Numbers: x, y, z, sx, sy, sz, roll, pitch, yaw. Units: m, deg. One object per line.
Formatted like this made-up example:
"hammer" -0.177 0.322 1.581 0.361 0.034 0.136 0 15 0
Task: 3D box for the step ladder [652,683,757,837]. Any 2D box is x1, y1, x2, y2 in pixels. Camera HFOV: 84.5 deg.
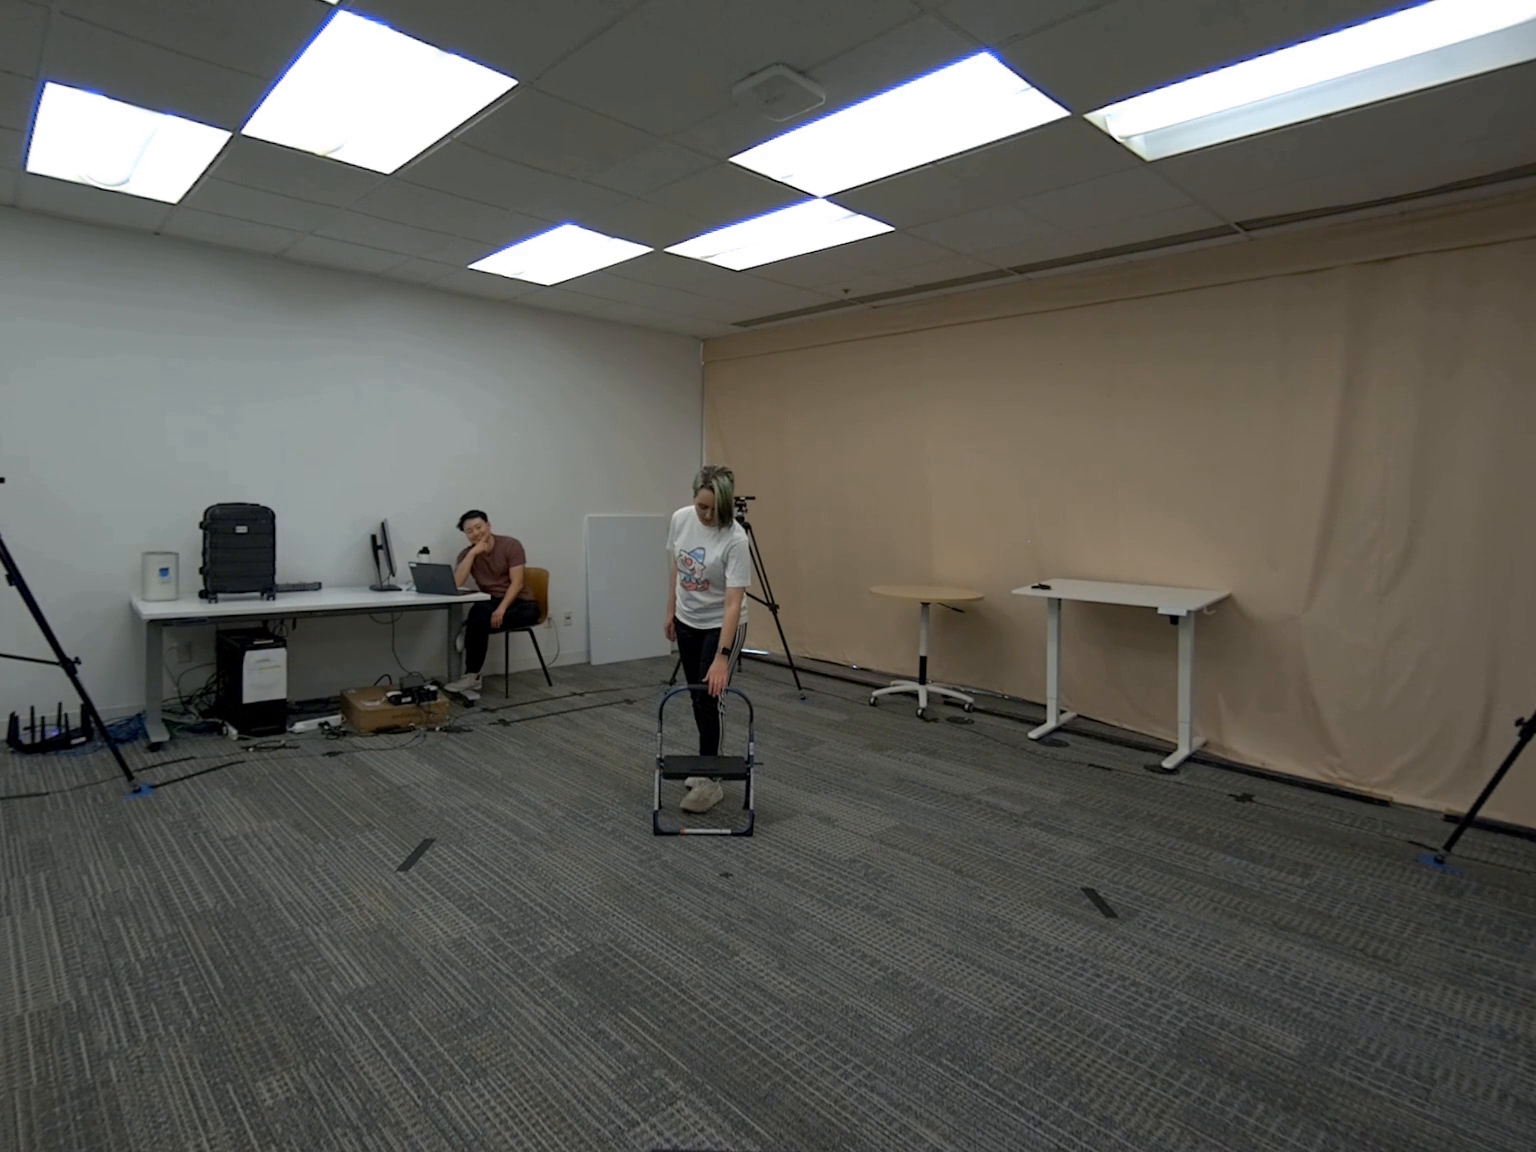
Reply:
"step ladder" -0.281 0.757 3.615 0.429 0.605 0.351 1 3 -4
